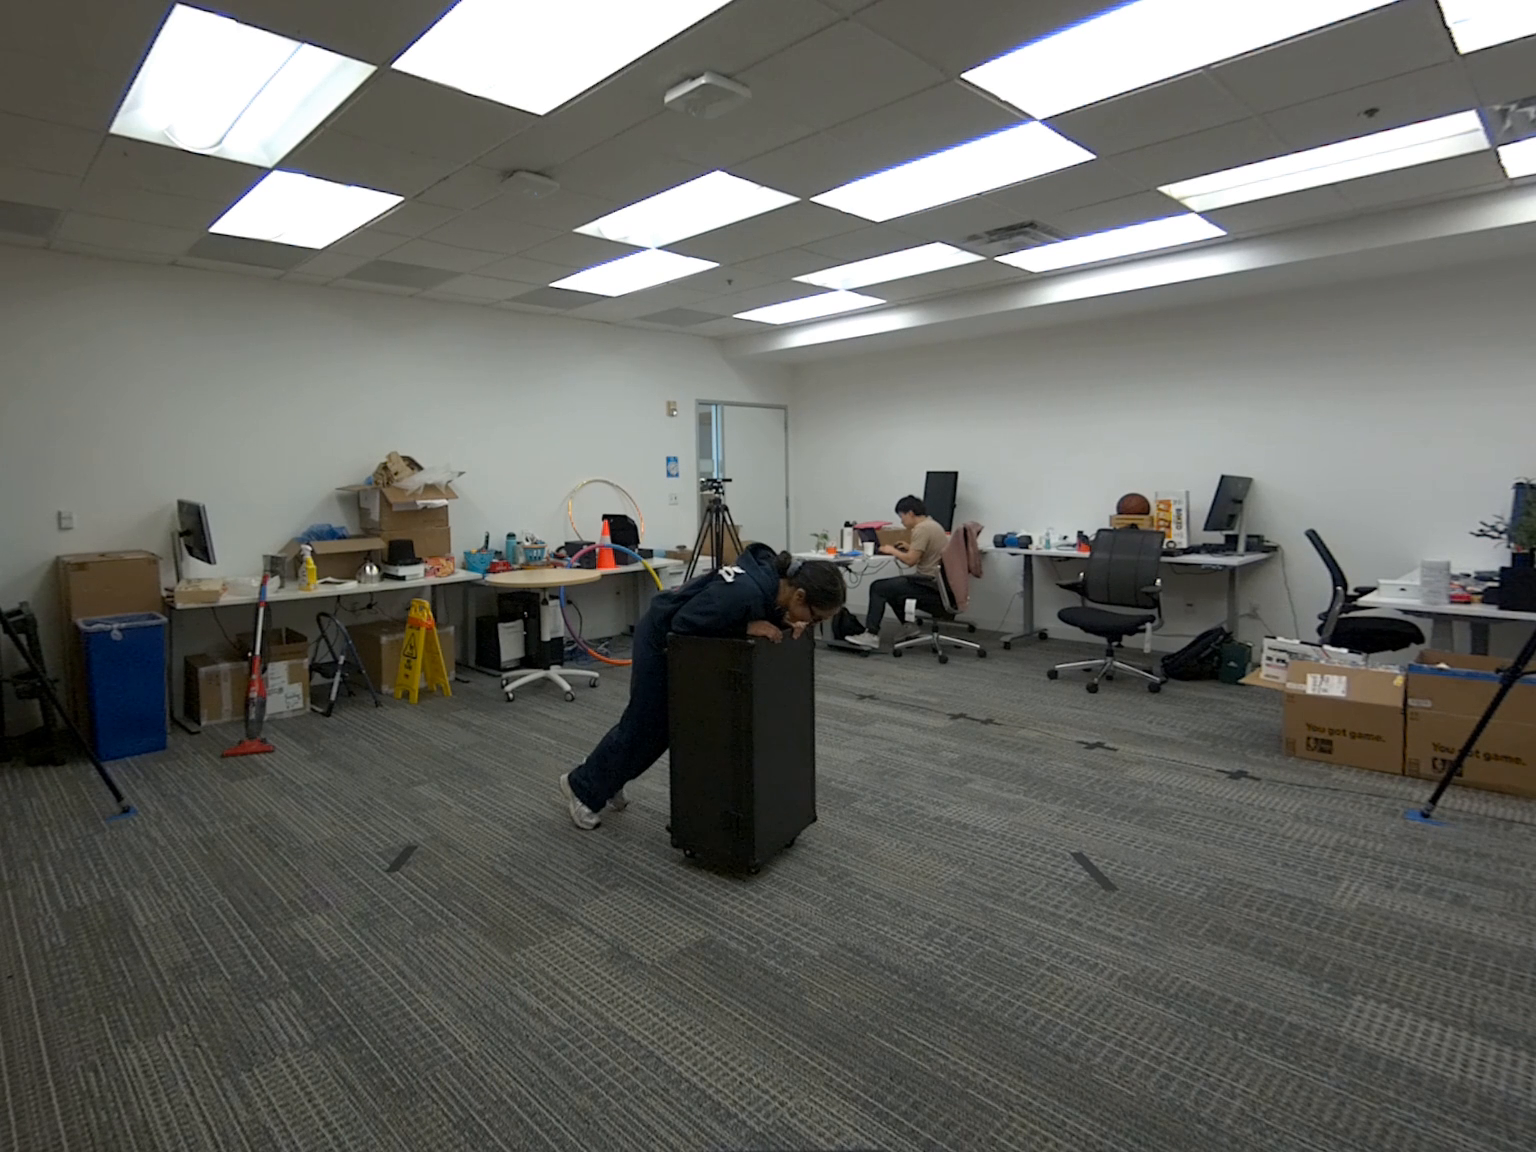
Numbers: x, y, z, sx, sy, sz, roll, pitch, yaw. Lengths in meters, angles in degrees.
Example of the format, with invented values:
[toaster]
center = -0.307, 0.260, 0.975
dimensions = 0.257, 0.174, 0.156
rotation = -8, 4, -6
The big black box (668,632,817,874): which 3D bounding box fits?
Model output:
[big black box]
center = -0.095, 0.615, 3.172
dimensions = 0.407, 0.858, 0.510
rotation = 1, 5, 31
